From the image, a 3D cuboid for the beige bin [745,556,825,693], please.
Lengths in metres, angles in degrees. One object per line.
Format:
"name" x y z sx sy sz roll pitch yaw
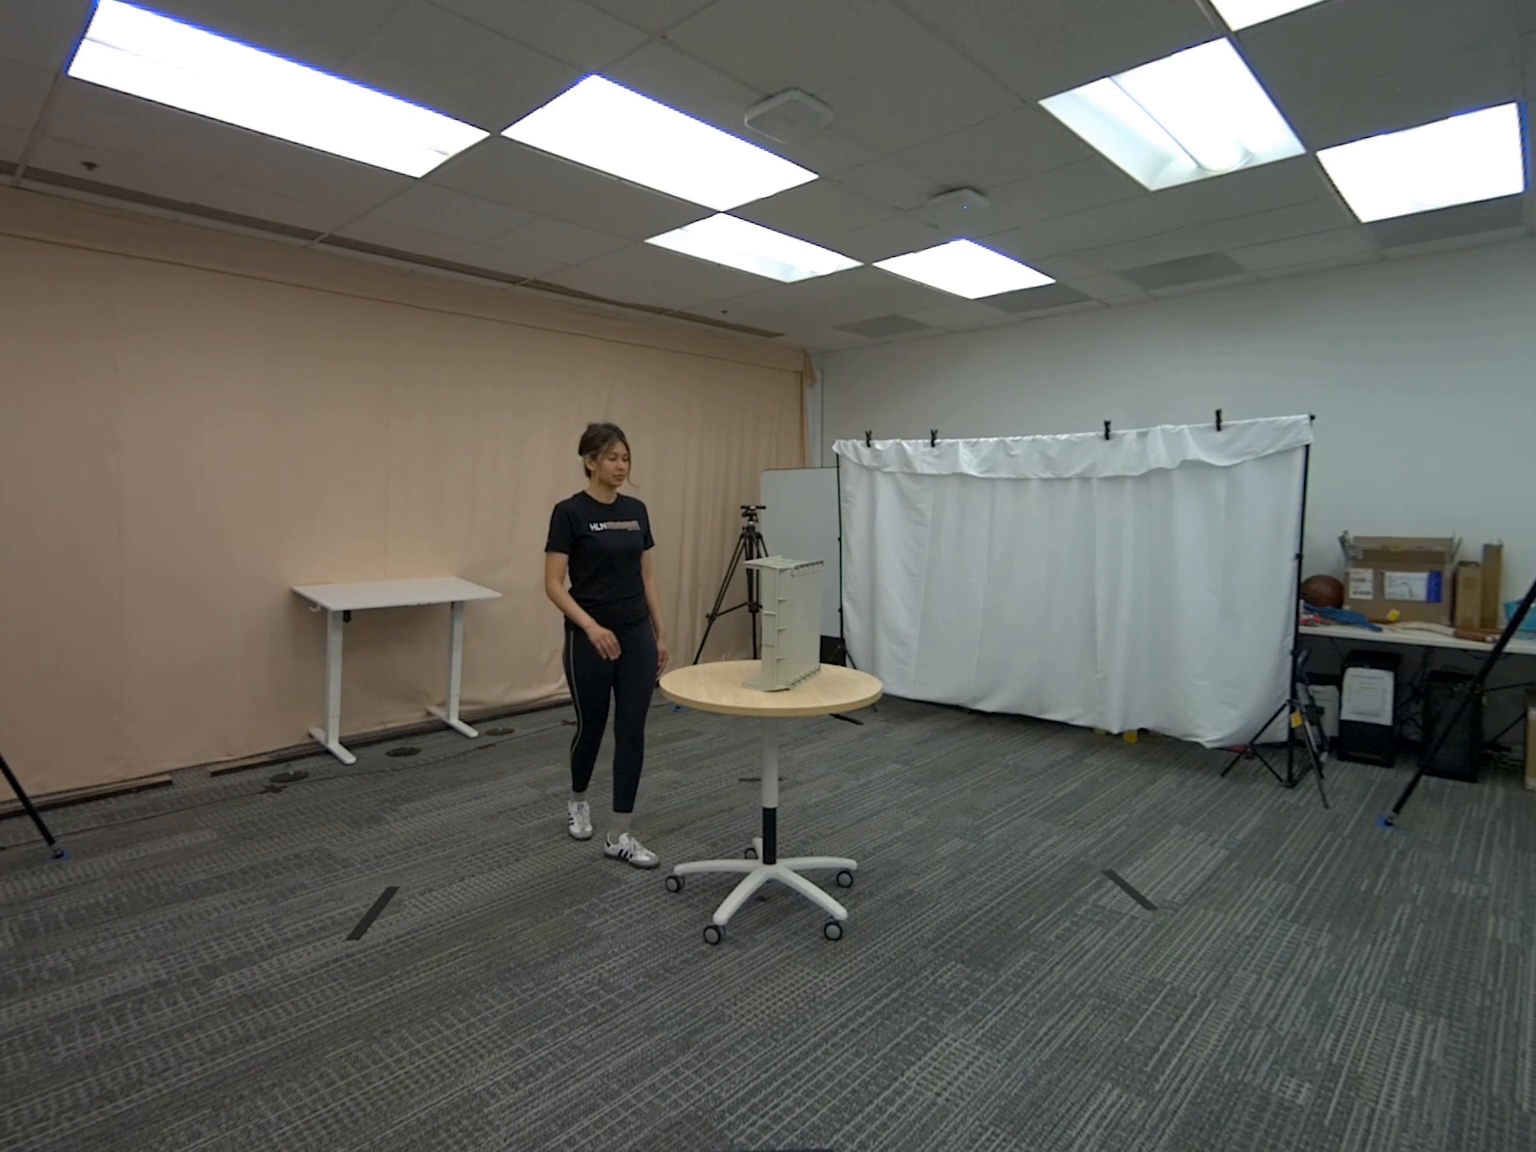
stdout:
"beige bin" 0.050 0.155 2.917 0.194 0.421 0.369 3 5 25
